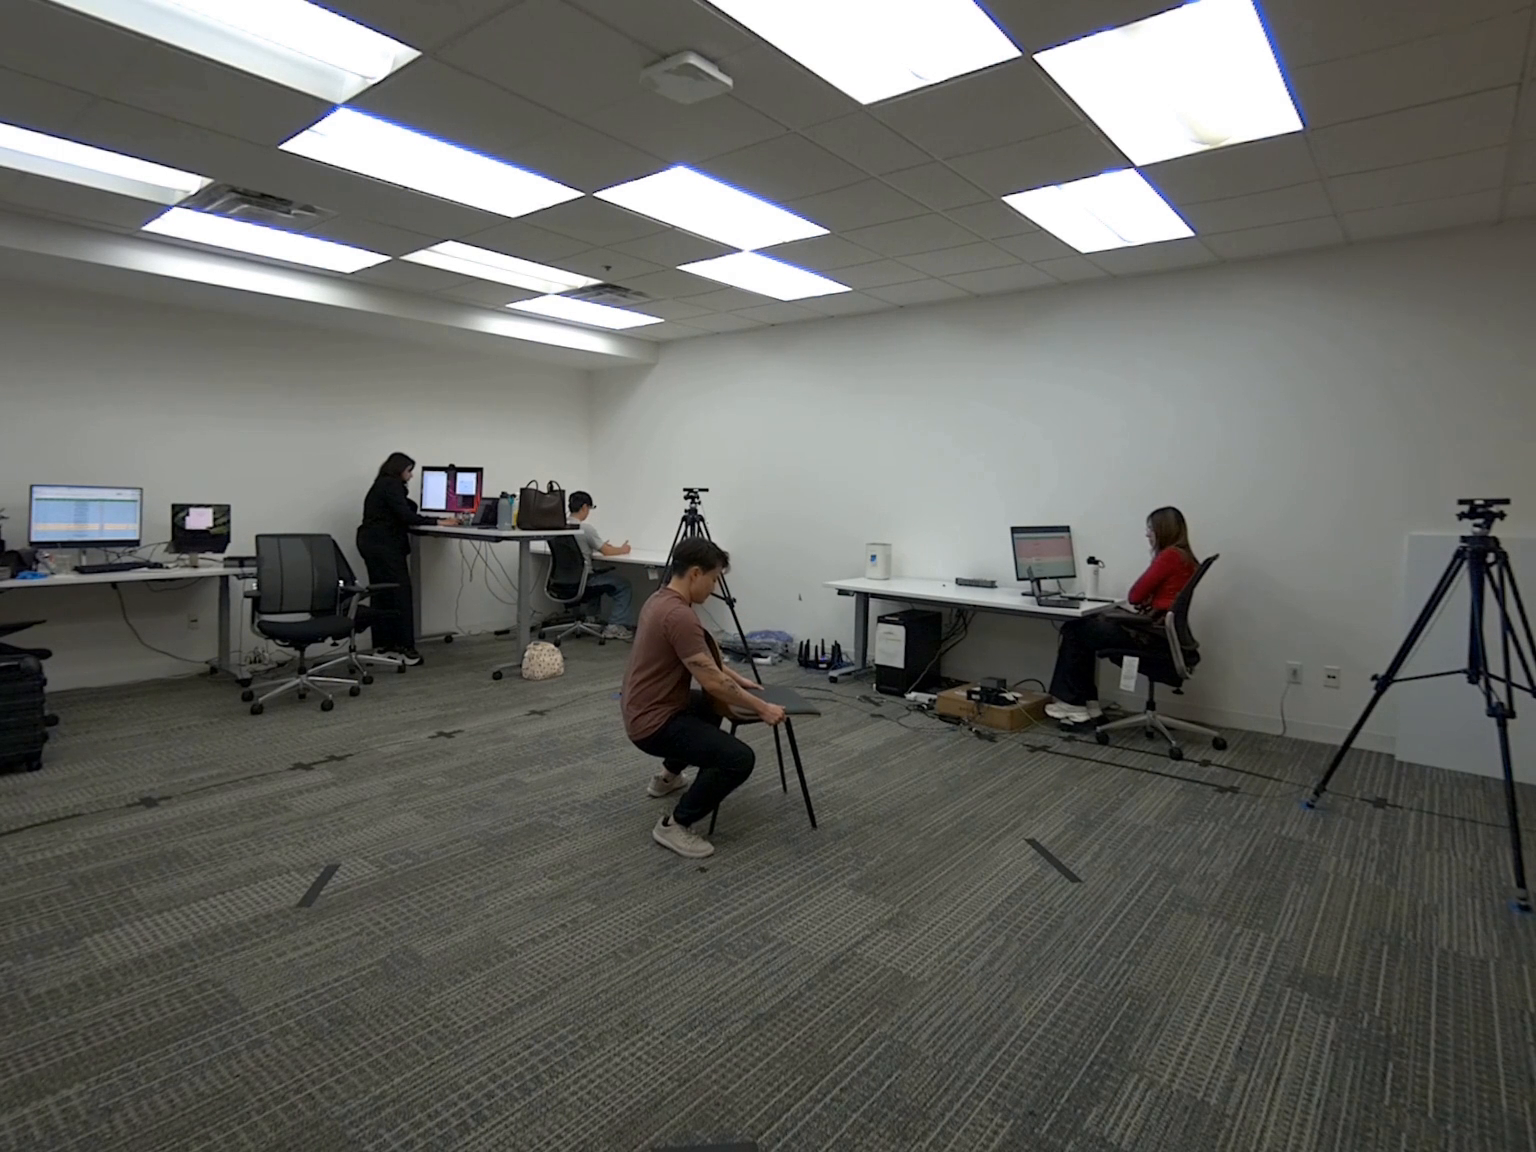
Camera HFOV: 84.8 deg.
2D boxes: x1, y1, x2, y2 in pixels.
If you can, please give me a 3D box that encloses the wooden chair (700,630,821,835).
[{"bbox_3d":[-0.056,0.587,3.654,0.517,0.875,0.485,-3,3,-13],"label":"wooden chair"}]
